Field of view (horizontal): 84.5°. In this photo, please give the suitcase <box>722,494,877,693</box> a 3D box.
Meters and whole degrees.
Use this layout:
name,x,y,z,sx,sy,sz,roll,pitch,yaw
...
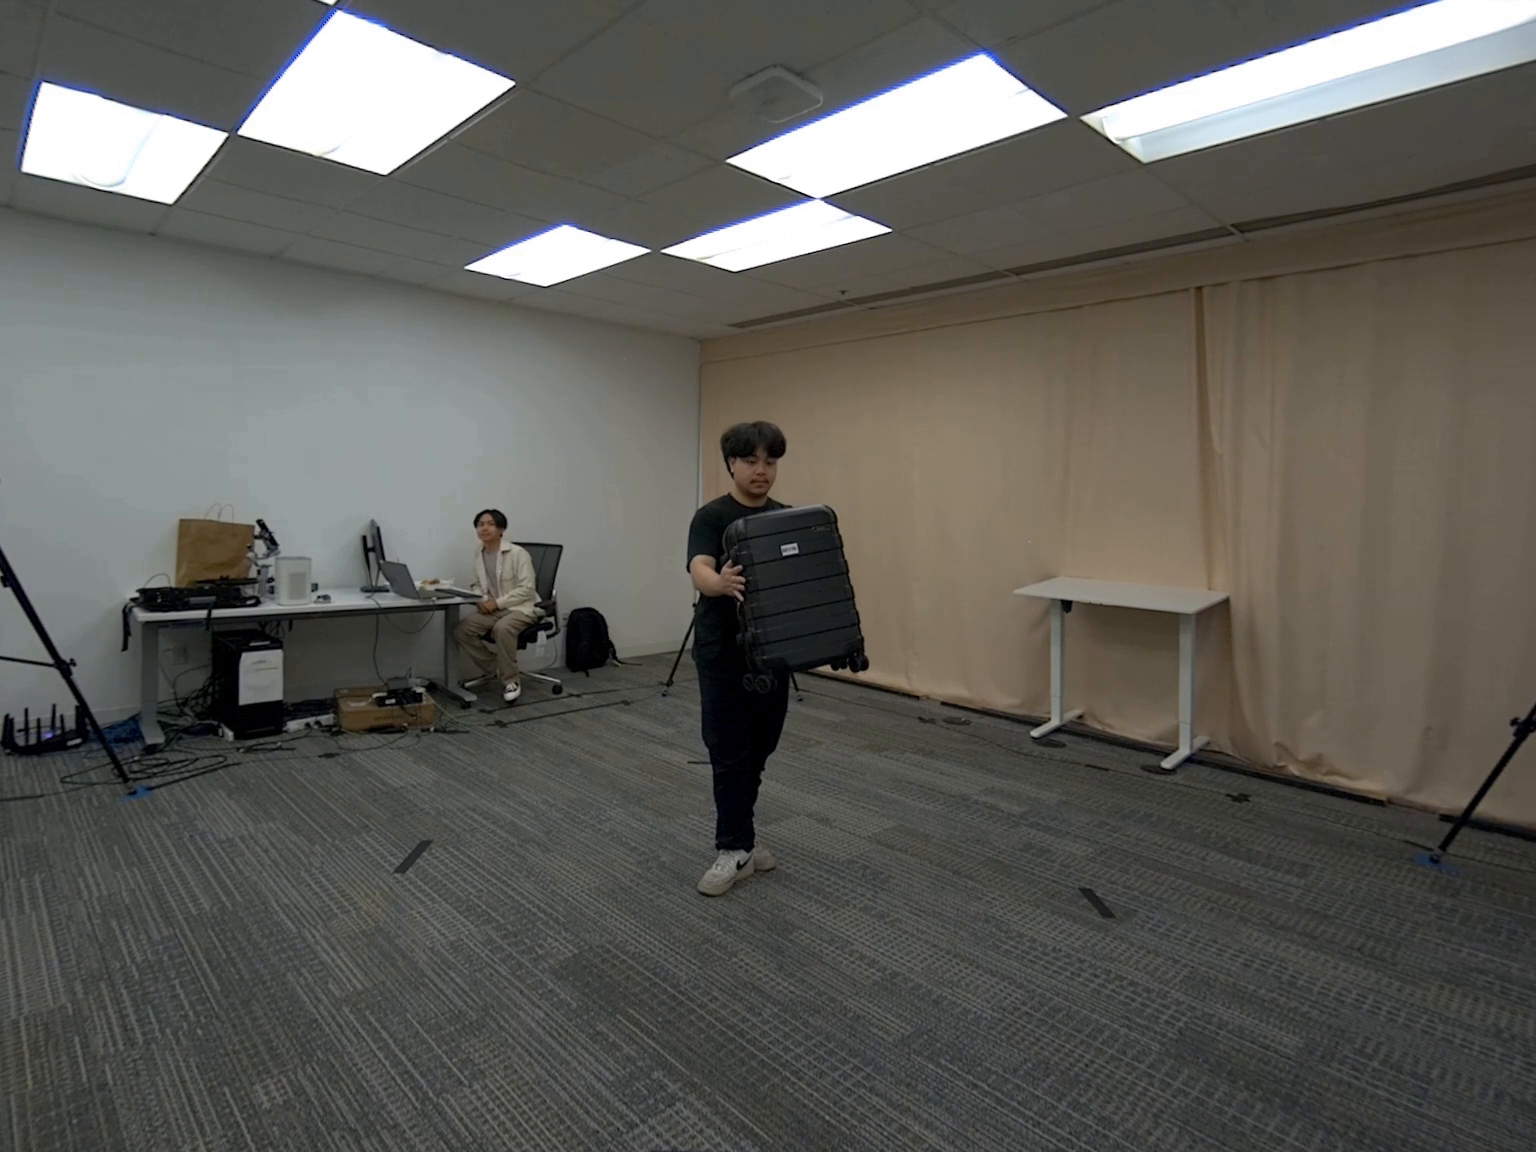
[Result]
name,x,y,z,sx,sy,sz,roll,pitch,yaw
suitcase,0.073,0.058,2.674,0.373,0.552,0.249,-9,-5,-11
